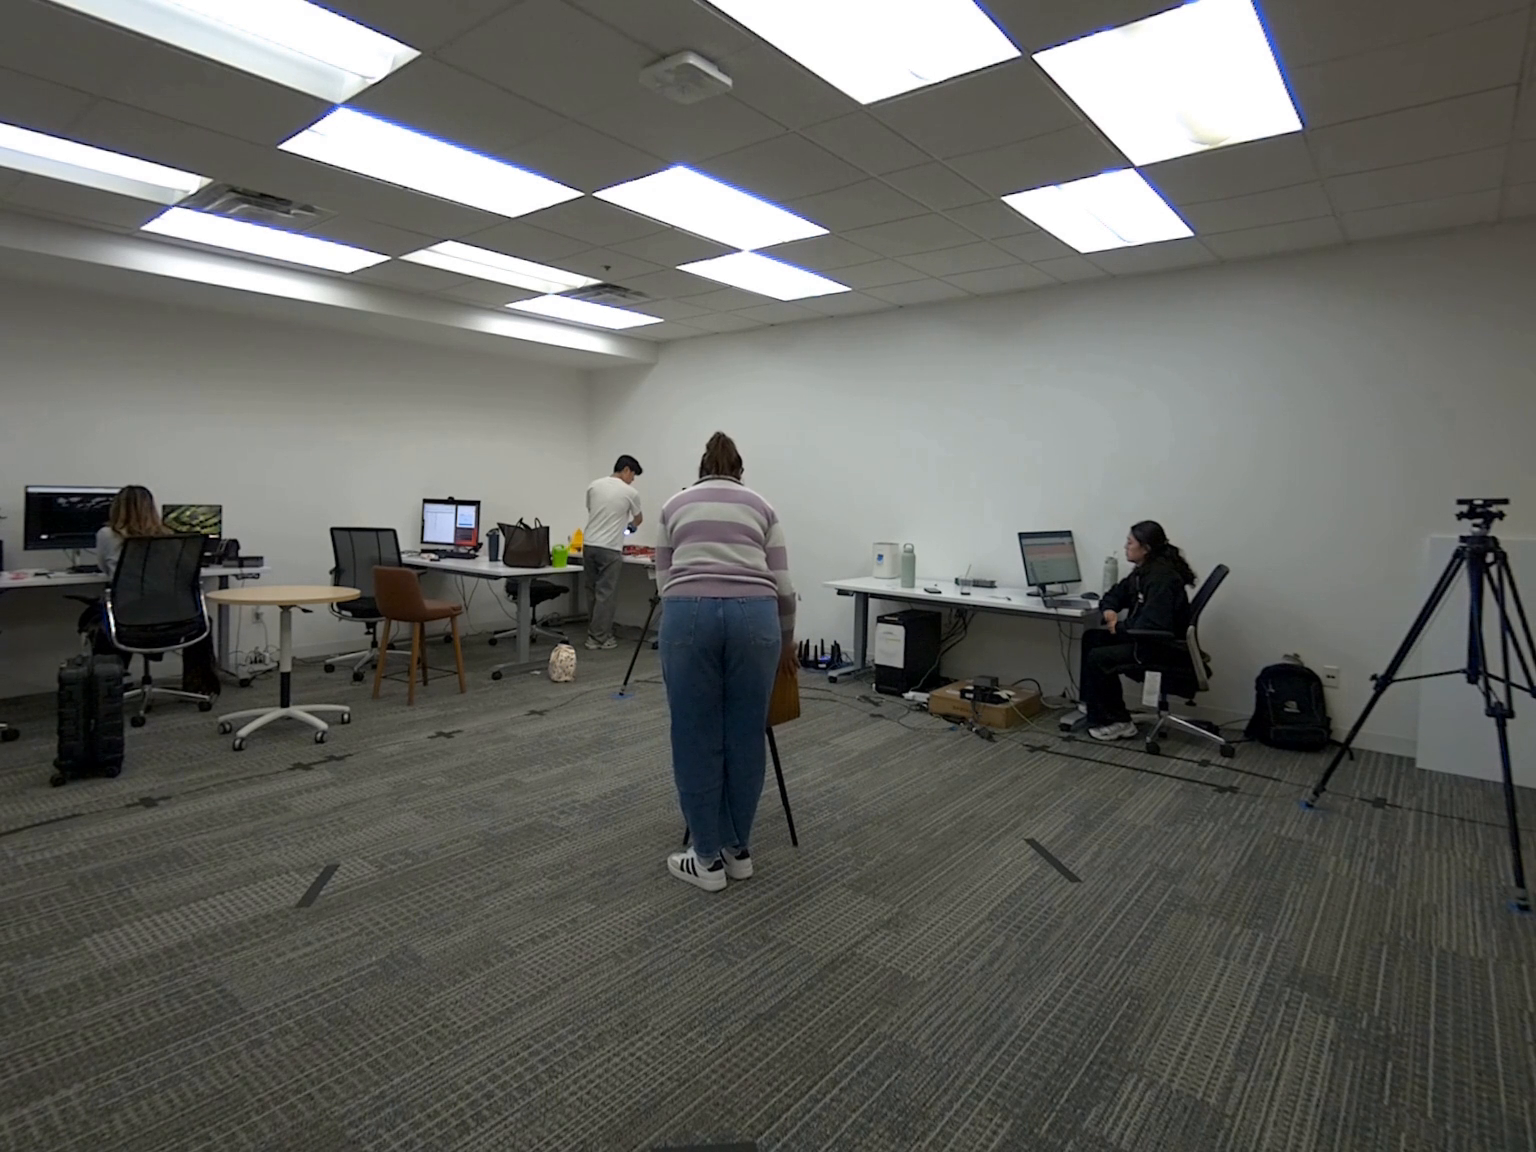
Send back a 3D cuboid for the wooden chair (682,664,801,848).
[{"bbox_3d":[-0.136,0.594,3.528,0.477,0.872,0.527,0,7,-2],"label":"wooden chair"}]
